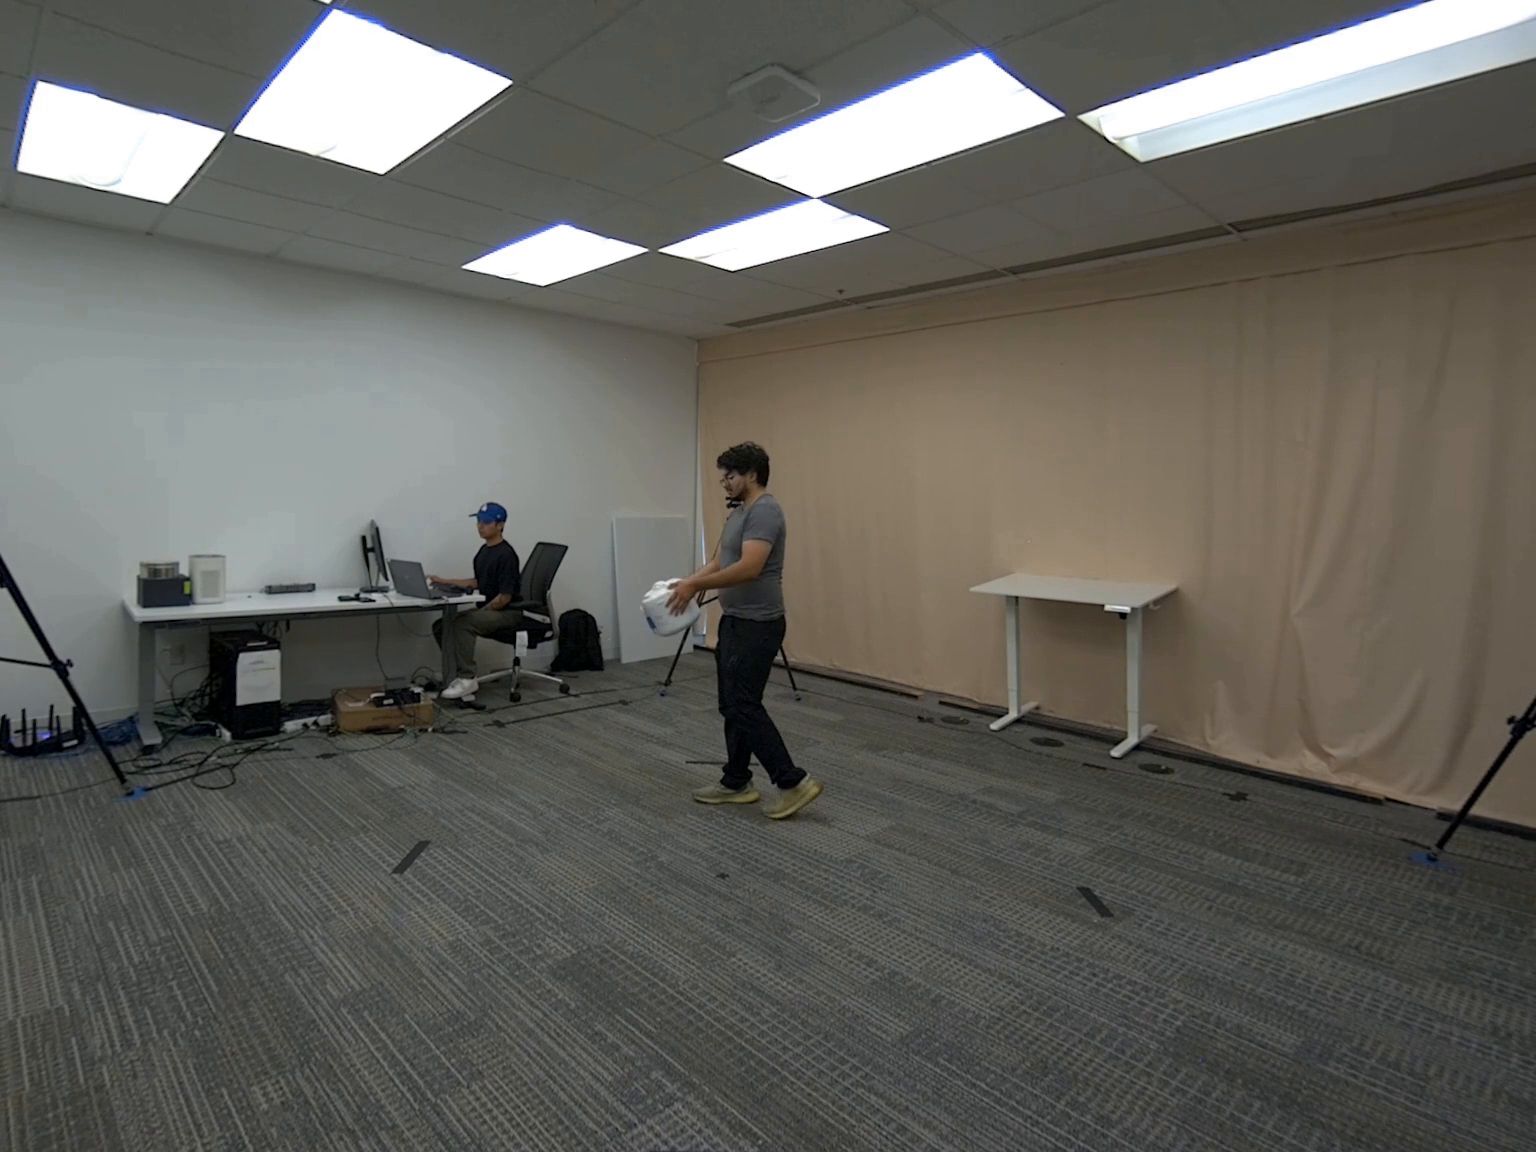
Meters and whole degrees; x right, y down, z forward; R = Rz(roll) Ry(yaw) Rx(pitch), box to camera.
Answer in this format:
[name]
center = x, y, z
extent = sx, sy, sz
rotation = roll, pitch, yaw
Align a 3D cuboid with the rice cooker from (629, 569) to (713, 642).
[rice cooker]
center = -0.431, 0.129, 3.726
extent = 0.216, 0.230, 0.224
rotation = -32, 11, -26
